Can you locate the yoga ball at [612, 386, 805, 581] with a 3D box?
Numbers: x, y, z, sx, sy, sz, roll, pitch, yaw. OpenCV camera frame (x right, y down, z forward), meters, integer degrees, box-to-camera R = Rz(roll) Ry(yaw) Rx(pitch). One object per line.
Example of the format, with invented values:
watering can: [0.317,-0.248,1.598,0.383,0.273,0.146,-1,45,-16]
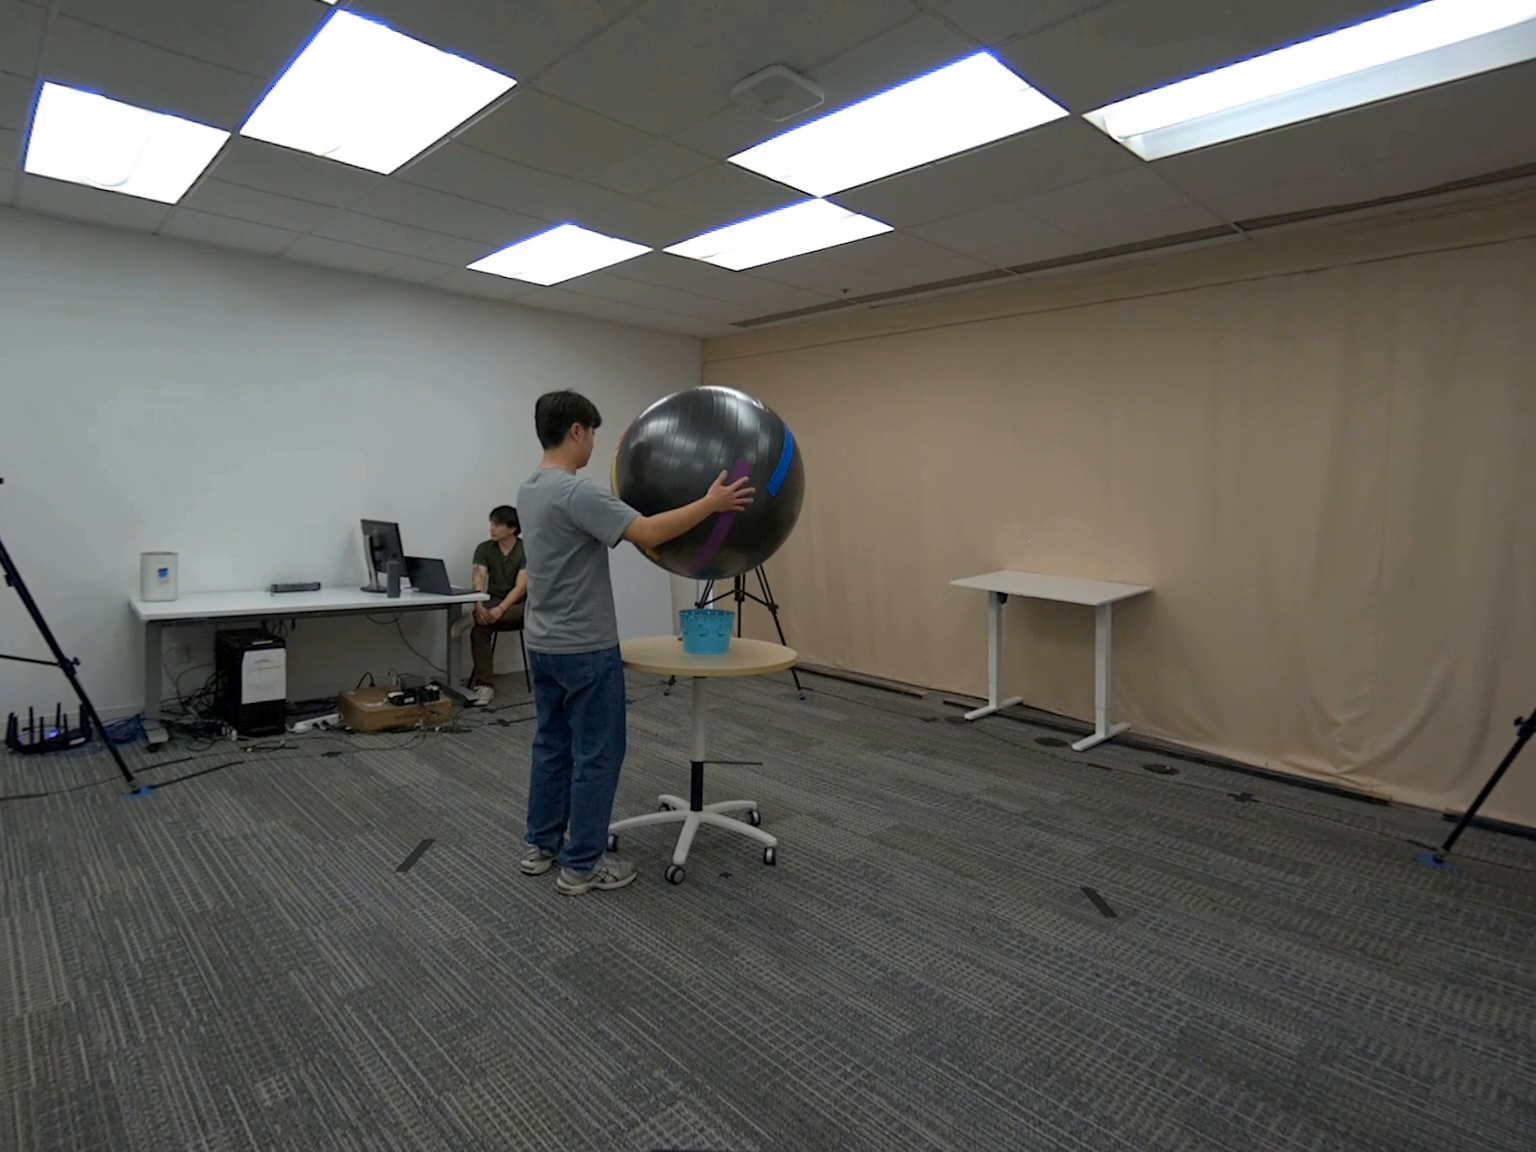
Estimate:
yoga ball: [-0.239,-0.365,3.313,0.757,0.756,0.761,1,4,-1]
